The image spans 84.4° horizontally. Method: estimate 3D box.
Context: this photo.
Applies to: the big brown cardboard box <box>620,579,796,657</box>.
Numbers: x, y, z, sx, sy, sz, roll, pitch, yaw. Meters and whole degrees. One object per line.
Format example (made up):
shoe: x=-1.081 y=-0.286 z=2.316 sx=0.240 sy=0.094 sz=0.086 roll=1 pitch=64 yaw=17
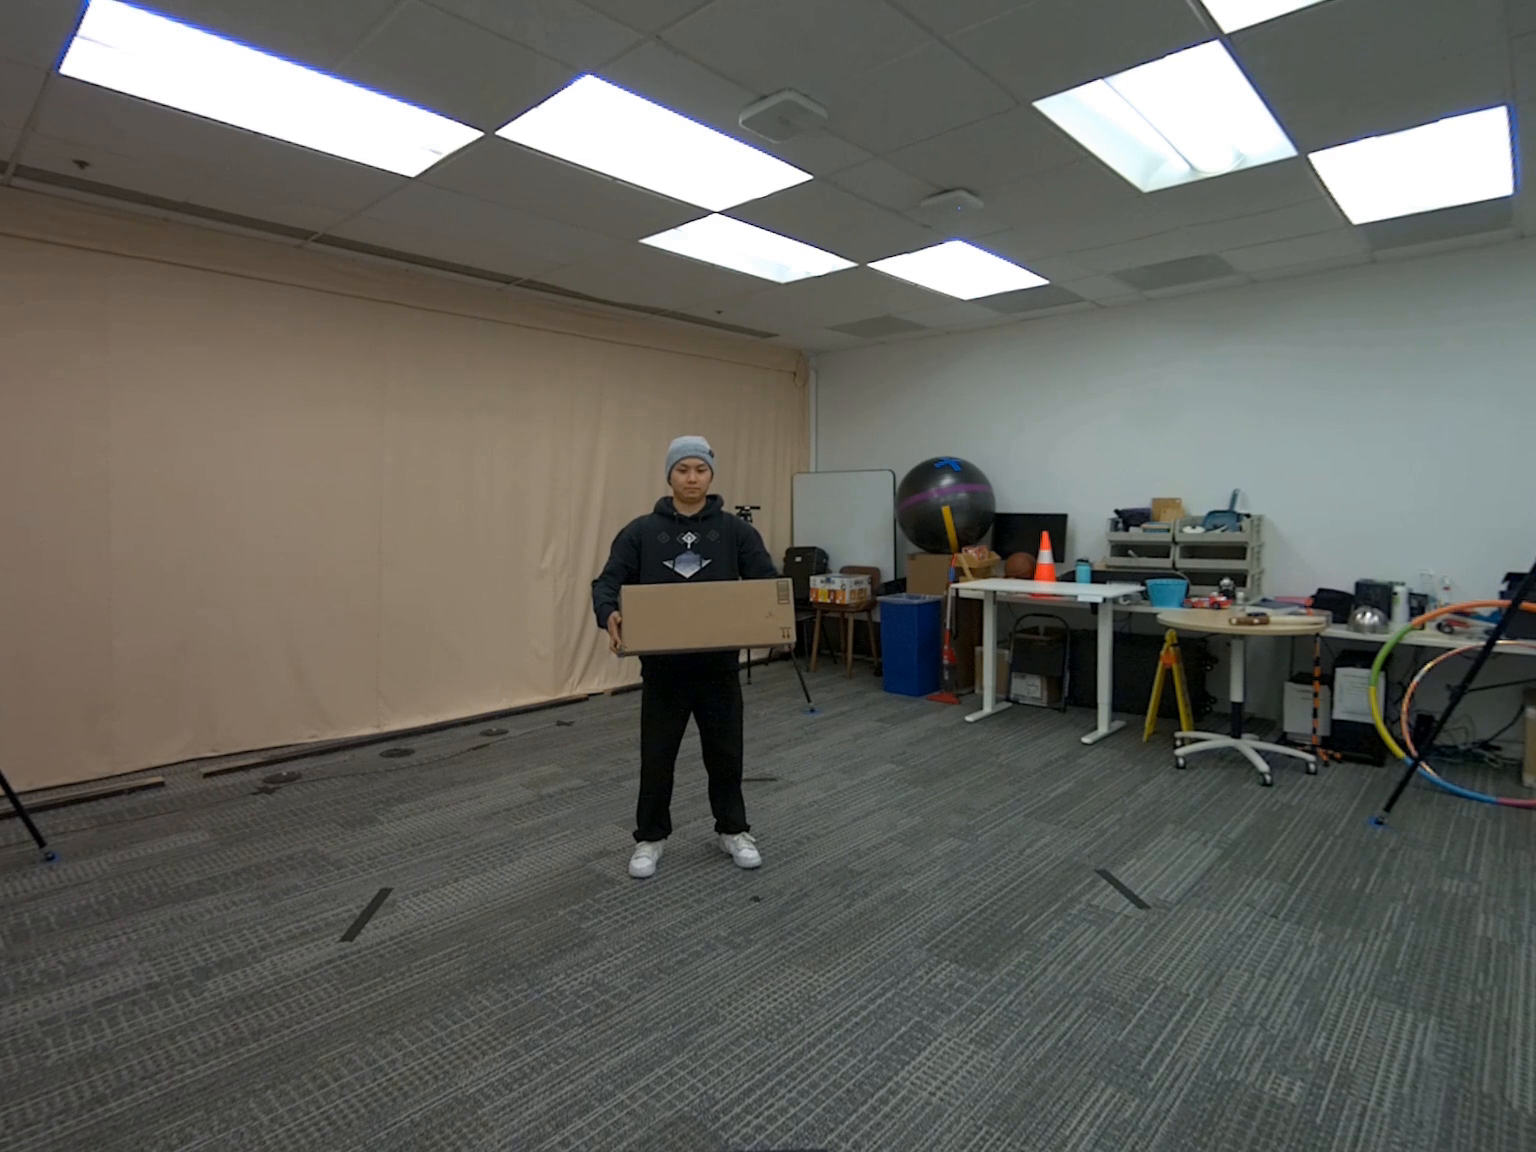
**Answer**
big brown cardboard box: x=-0.229 y=0.145 z=2.946 sx=0.585 sy=0.234 sz=0.419 roll=-3 pitch=-5 yaw=-7
